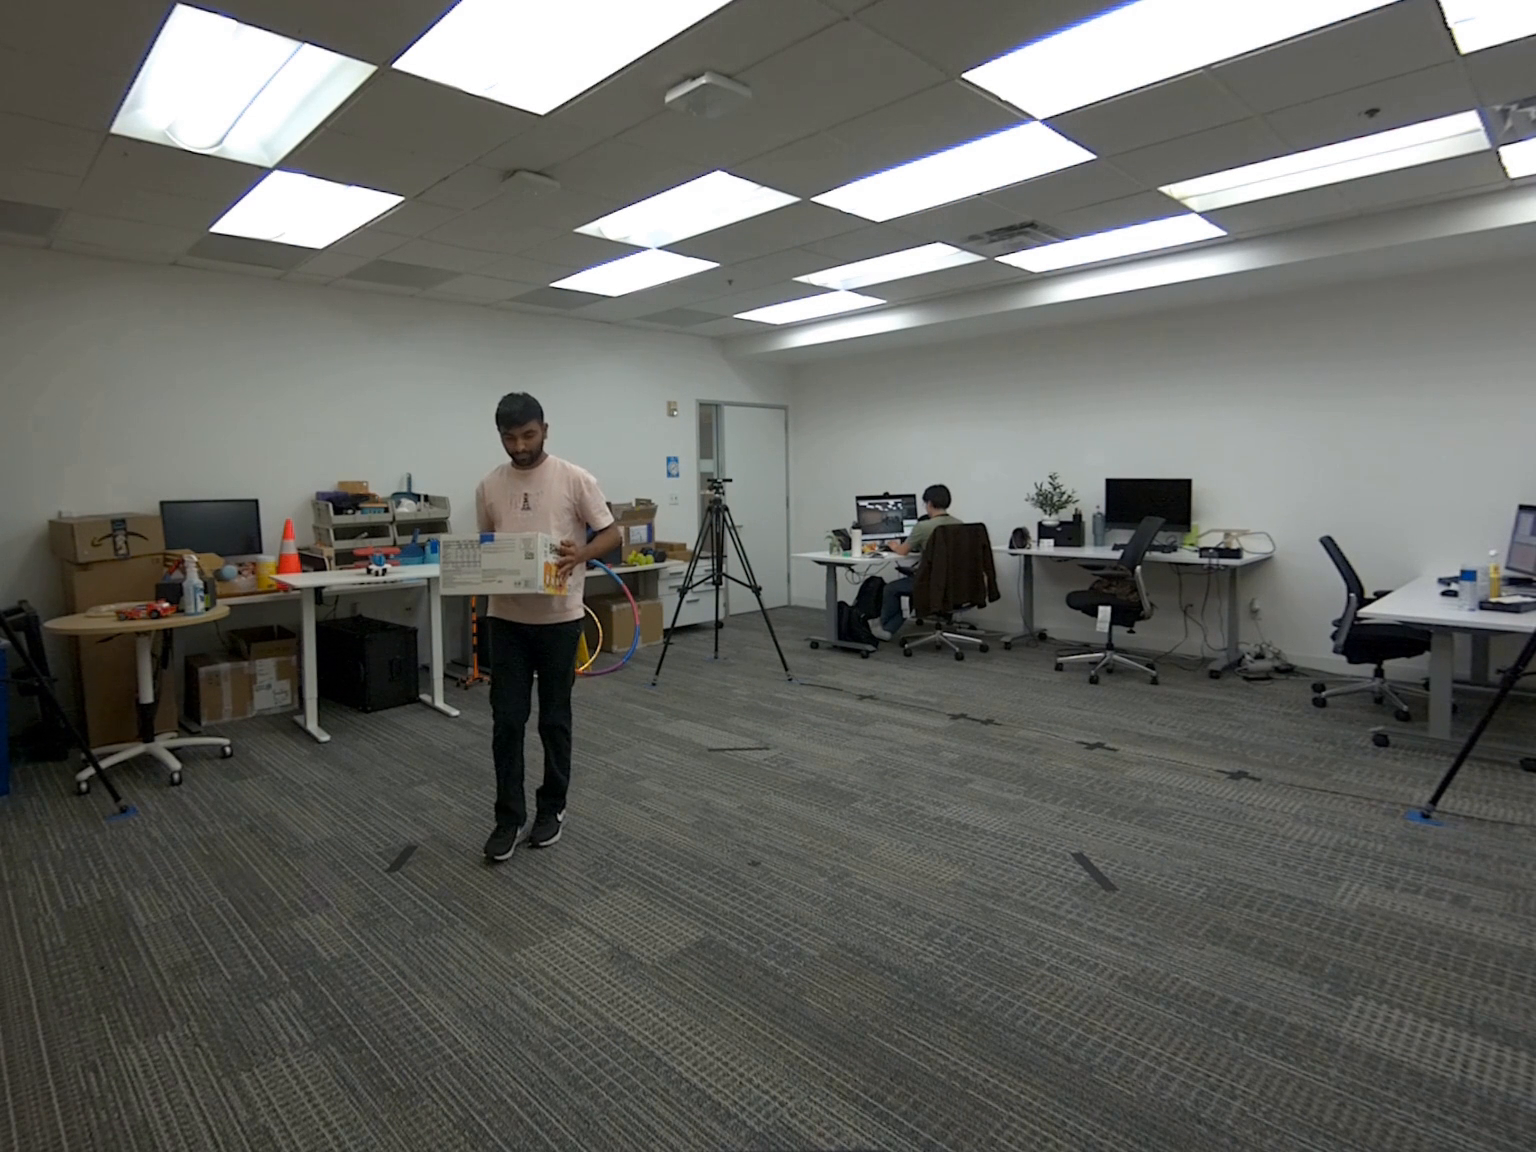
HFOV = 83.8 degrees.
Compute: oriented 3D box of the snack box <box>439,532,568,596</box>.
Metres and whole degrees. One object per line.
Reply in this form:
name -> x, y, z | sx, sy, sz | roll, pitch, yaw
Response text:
snack box -> -0.915, -0.031, 3.000 | 0.342, 0.206, 0.402 | -1, -2, 3
